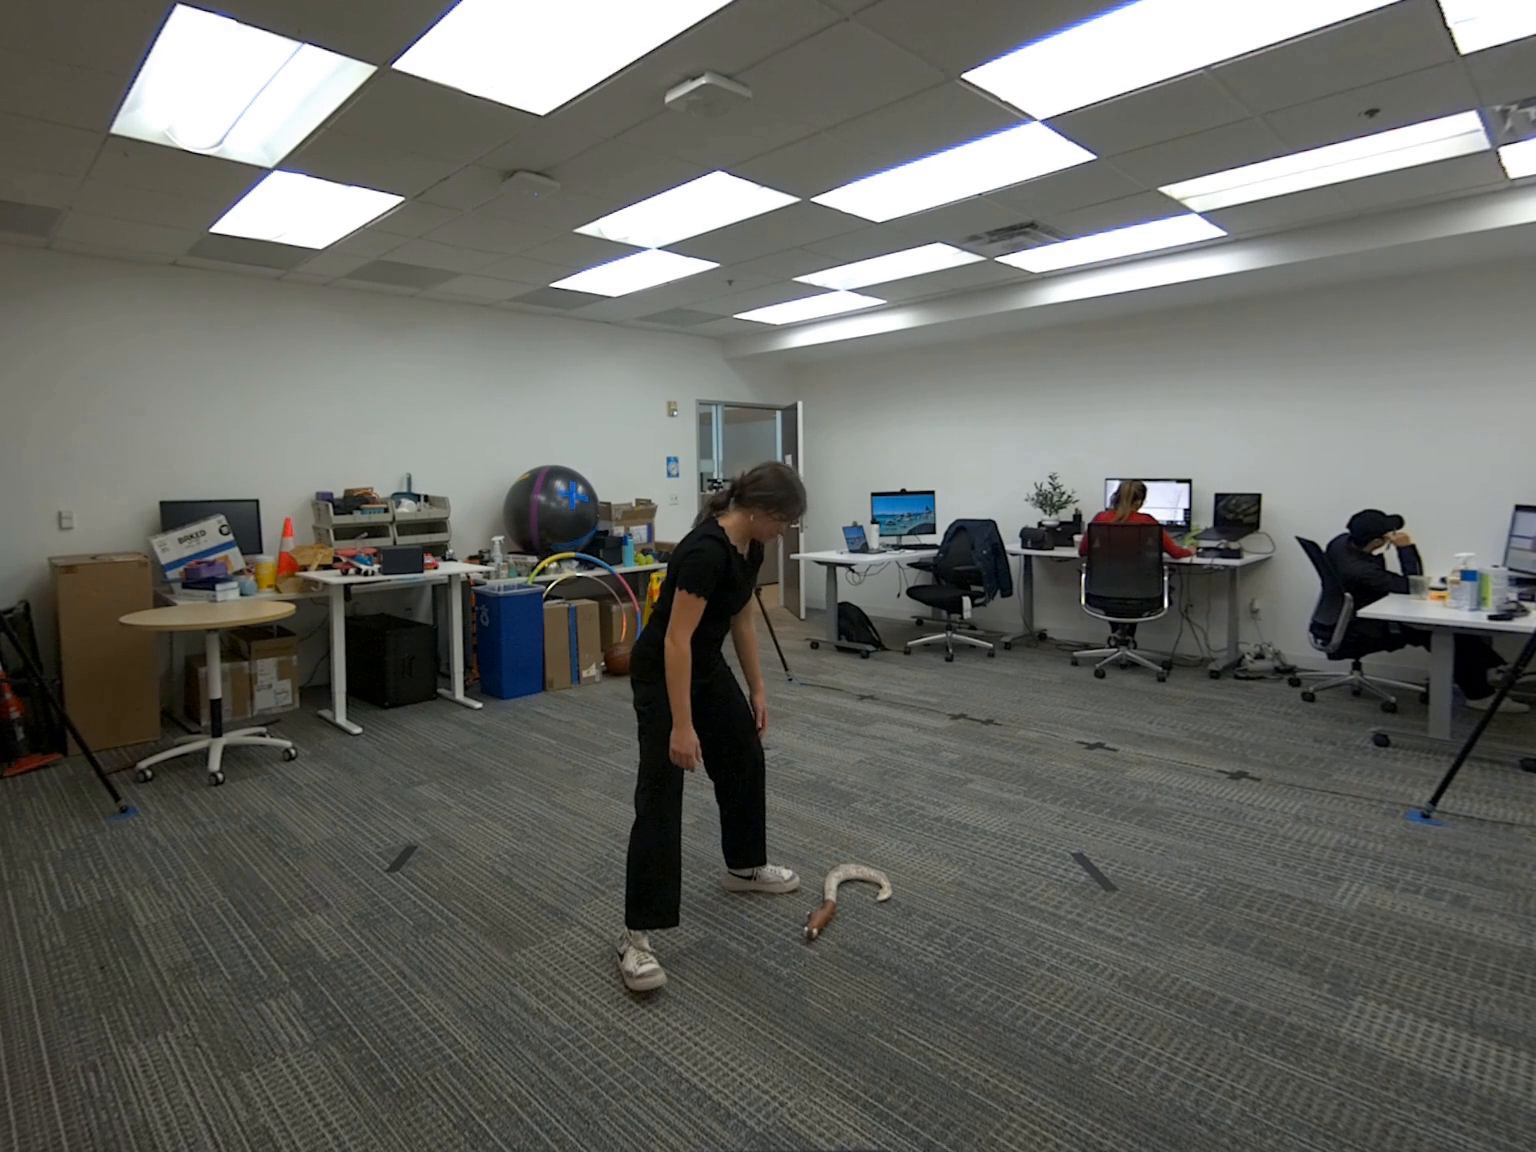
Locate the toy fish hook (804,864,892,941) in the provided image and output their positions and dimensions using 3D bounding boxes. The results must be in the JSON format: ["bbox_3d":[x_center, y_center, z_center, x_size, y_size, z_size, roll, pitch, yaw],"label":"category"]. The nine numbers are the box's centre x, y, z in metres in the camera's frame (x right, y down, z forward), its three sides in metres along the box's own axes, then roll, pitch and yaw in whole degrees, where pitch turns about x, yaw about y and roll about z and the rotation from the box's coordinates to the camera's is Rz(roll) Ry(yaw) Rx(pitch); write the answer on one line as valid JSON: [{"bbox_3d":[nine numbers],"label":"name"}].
[{"bbox_3d":[0.264,1.056,2.769,0.229,0.048,0.498,0,7,22],"label":"toy fish hook"}]
